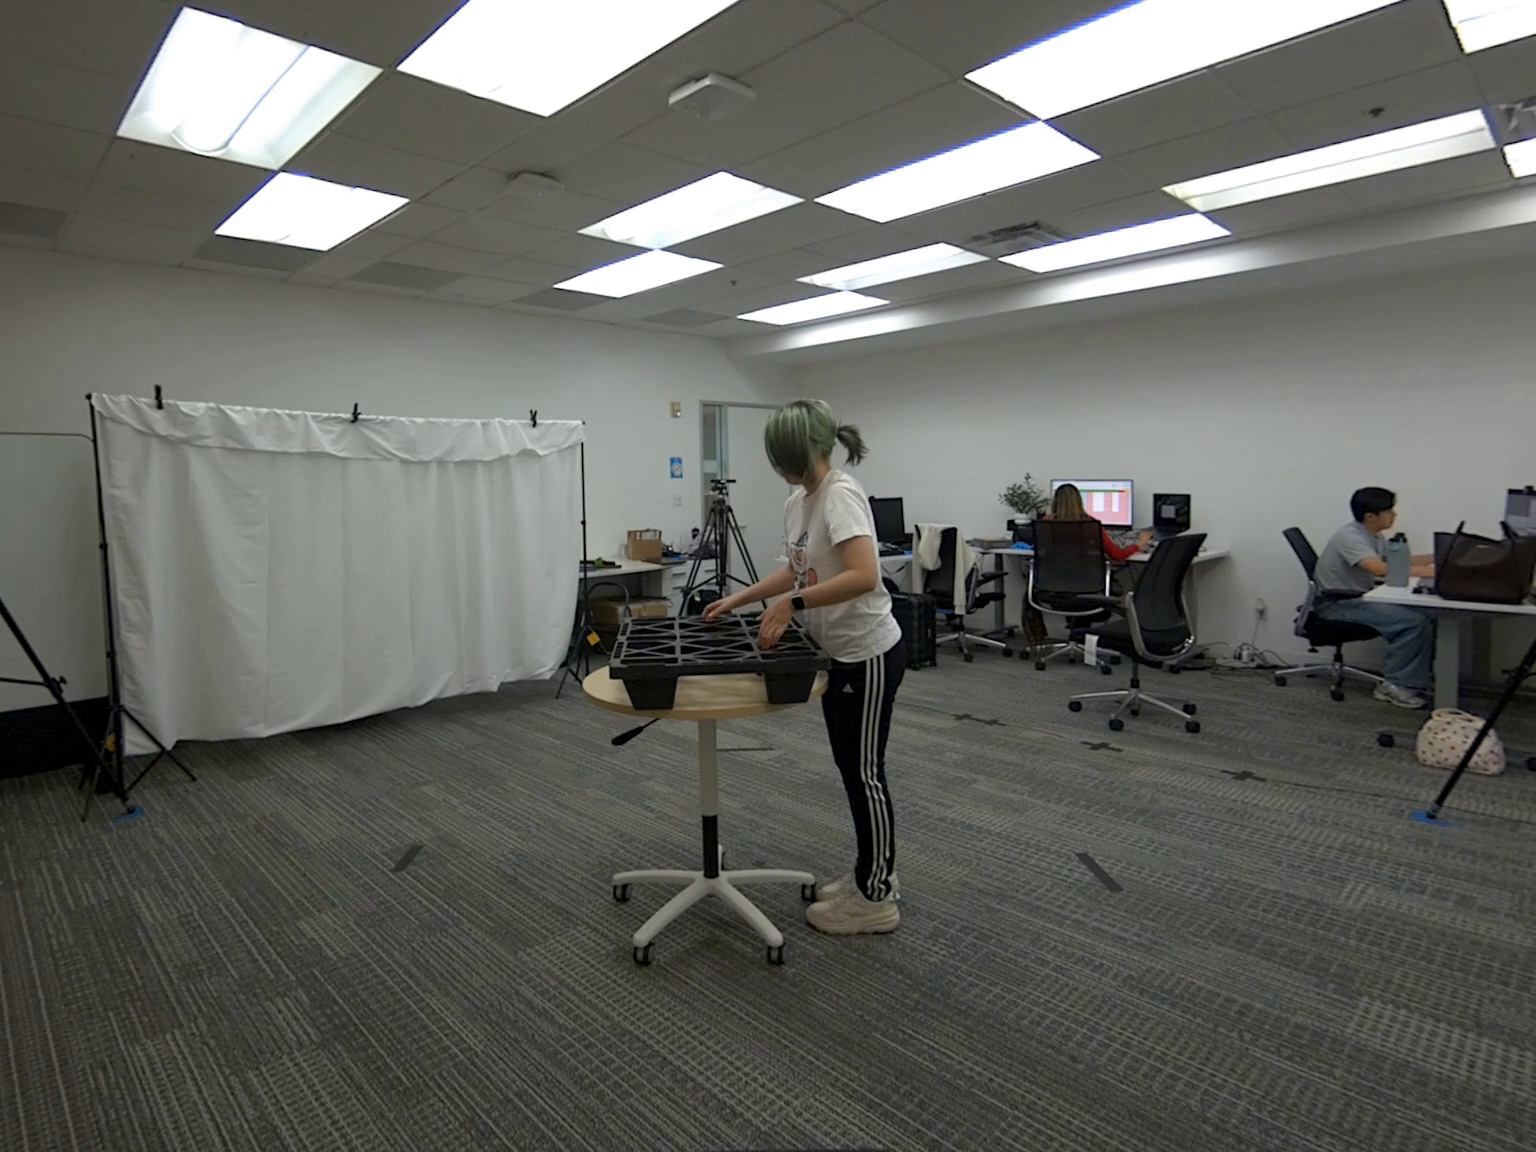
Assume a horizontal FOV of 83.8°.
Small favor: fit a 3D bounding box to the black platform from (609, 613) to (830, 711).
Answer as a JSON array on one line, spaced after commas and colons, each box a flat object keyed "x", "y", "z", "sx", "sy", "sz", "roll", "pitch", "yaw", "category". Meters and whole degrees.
[{"x": -0.171, "y": 0.248, "z": 2.674, "sx": 0.603, "sy": 0.142, "sz": 0.813, "roll": -2, "pitch": 7, "yaw": -5, "category": "black platform"}]
